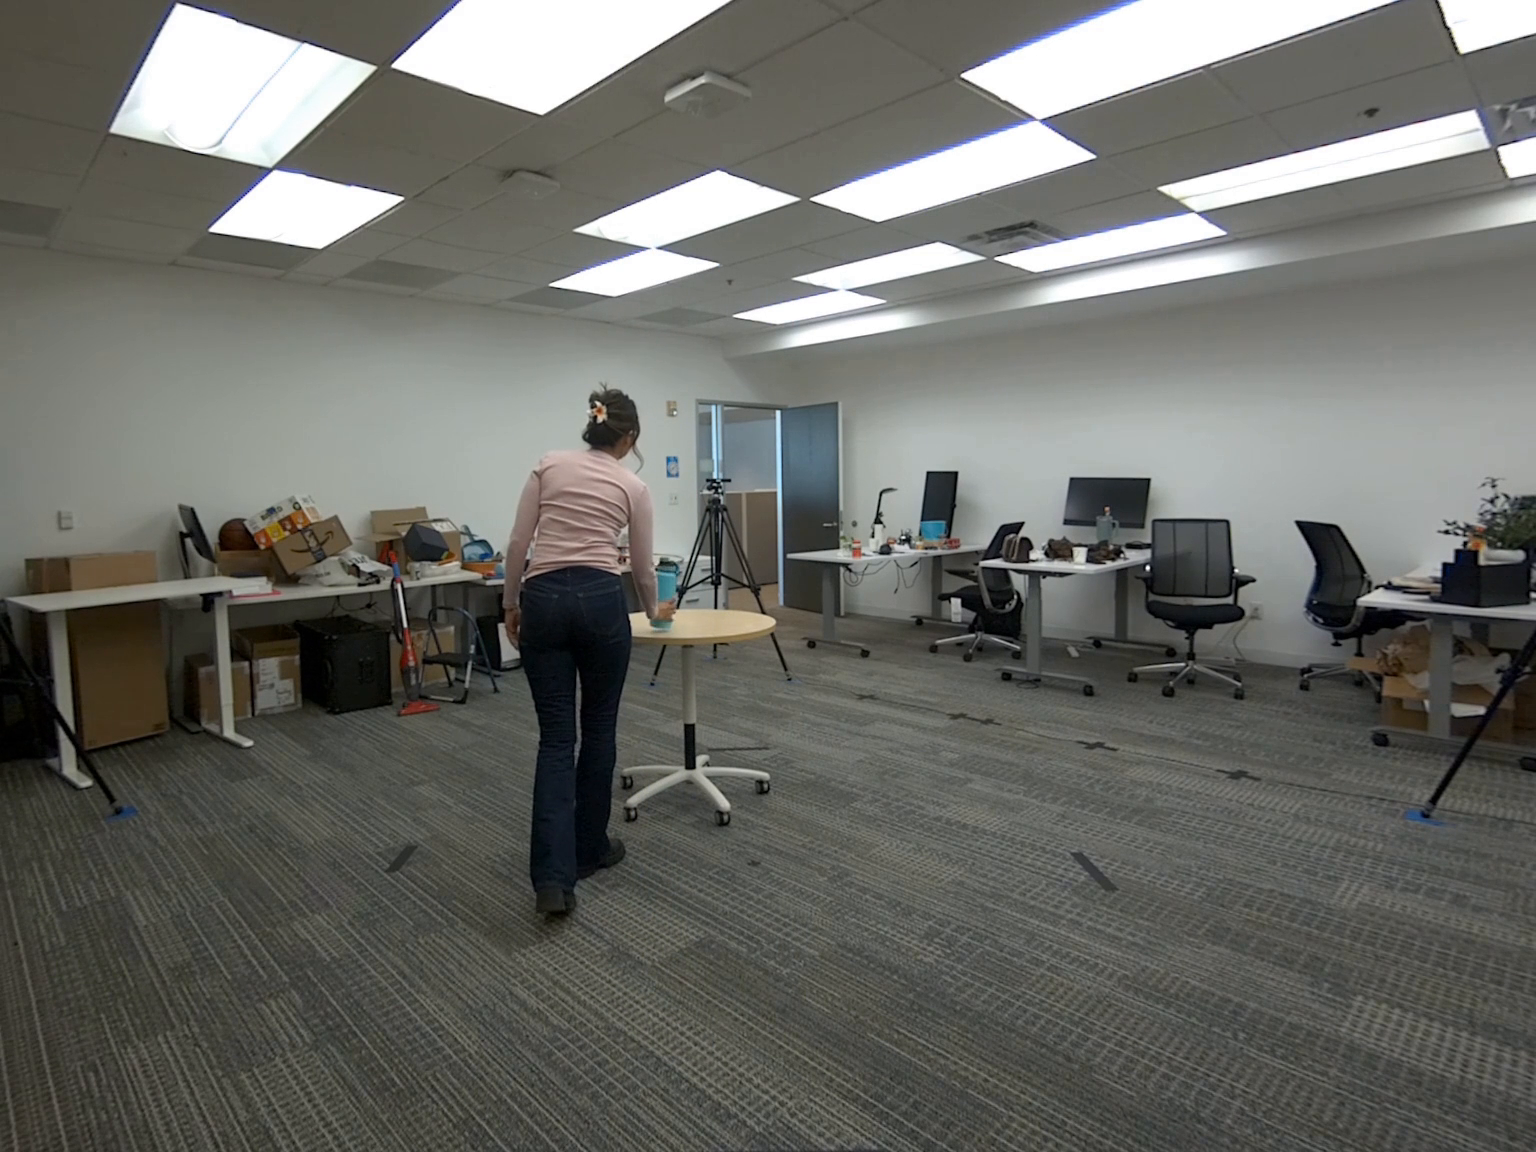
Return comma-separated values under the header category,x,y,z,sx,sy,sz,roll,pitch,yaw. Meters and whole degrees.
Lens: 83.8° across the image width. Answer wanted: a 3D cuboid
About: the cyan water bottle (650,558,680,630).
category,x,y,z,sx,sy,sz,roll,pitch,yaw
cyan water bottle,-0.415,0.063,3.467,0.092,0.283,0.093,6,3,-2
